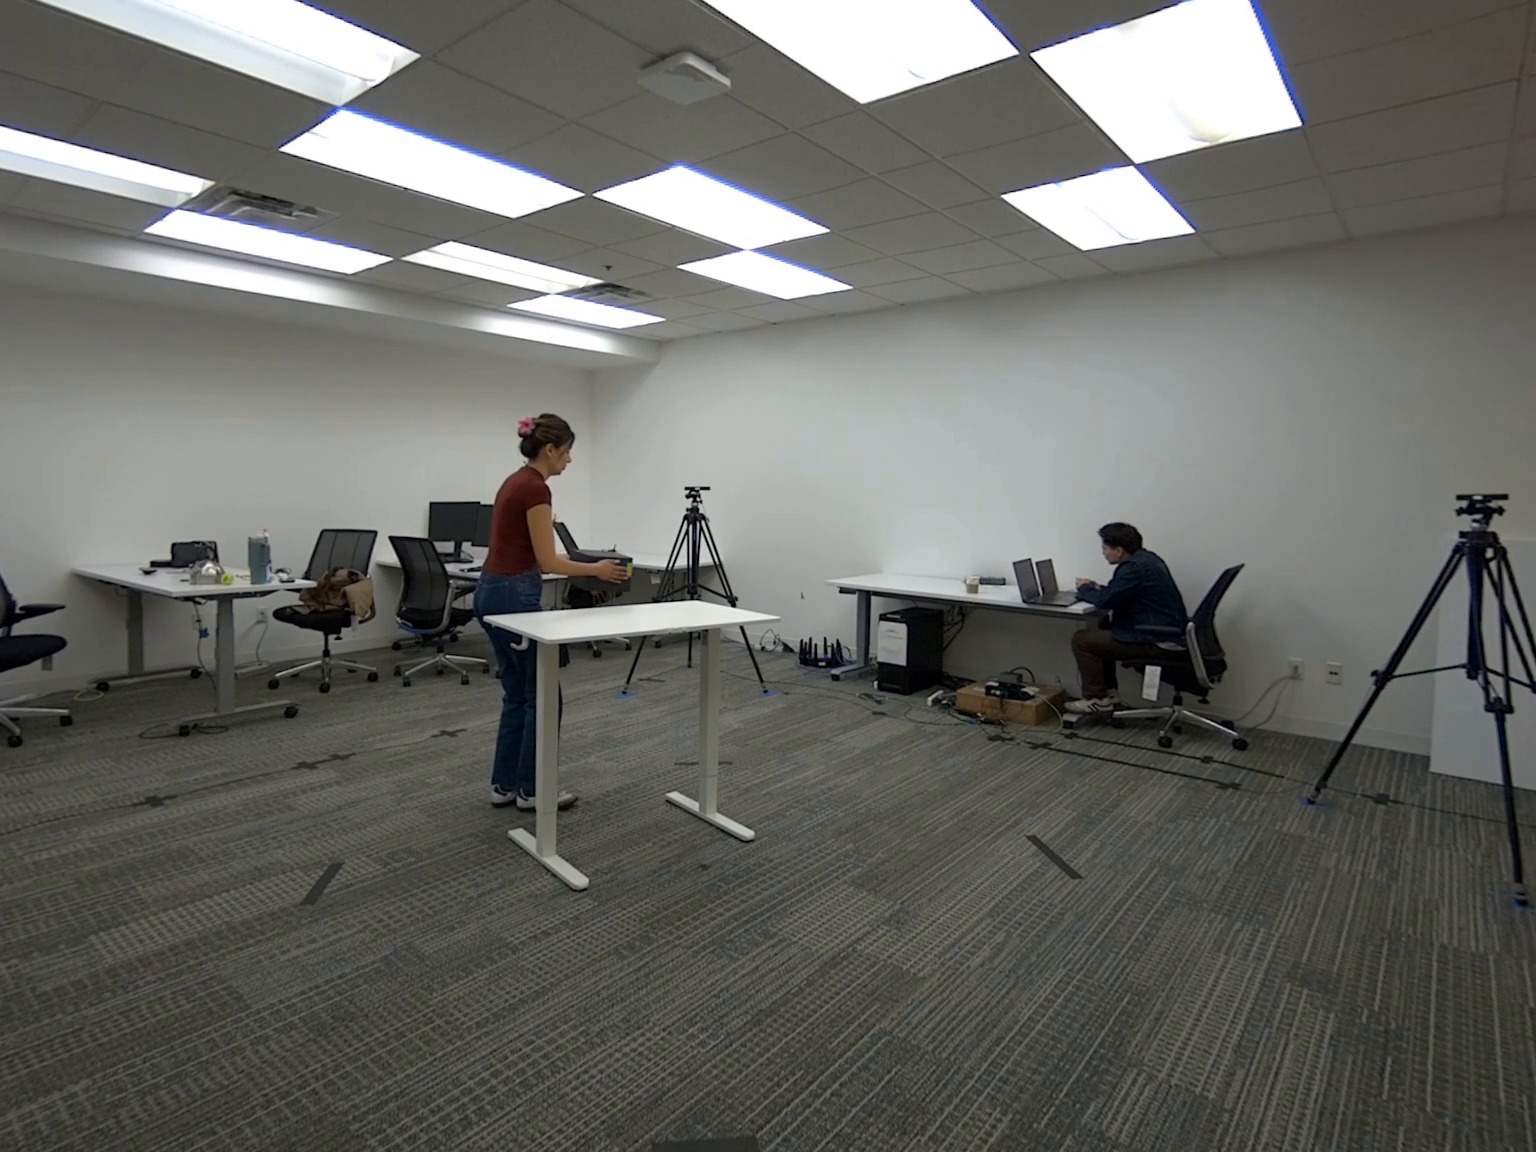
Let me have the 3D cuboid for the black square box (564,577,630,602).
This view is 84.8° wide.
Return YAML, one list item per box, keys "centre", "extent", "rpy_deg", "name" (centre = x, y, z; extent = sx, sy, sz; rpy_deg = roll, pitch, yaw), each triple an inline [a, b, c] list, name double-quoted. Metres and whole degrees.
- centre: [-0.775, -0.021, 3.849]
  extent: [0.210, 0.155, 0.236]
  rpy_deg: [3, 6, -34]
  name: "black square box"
